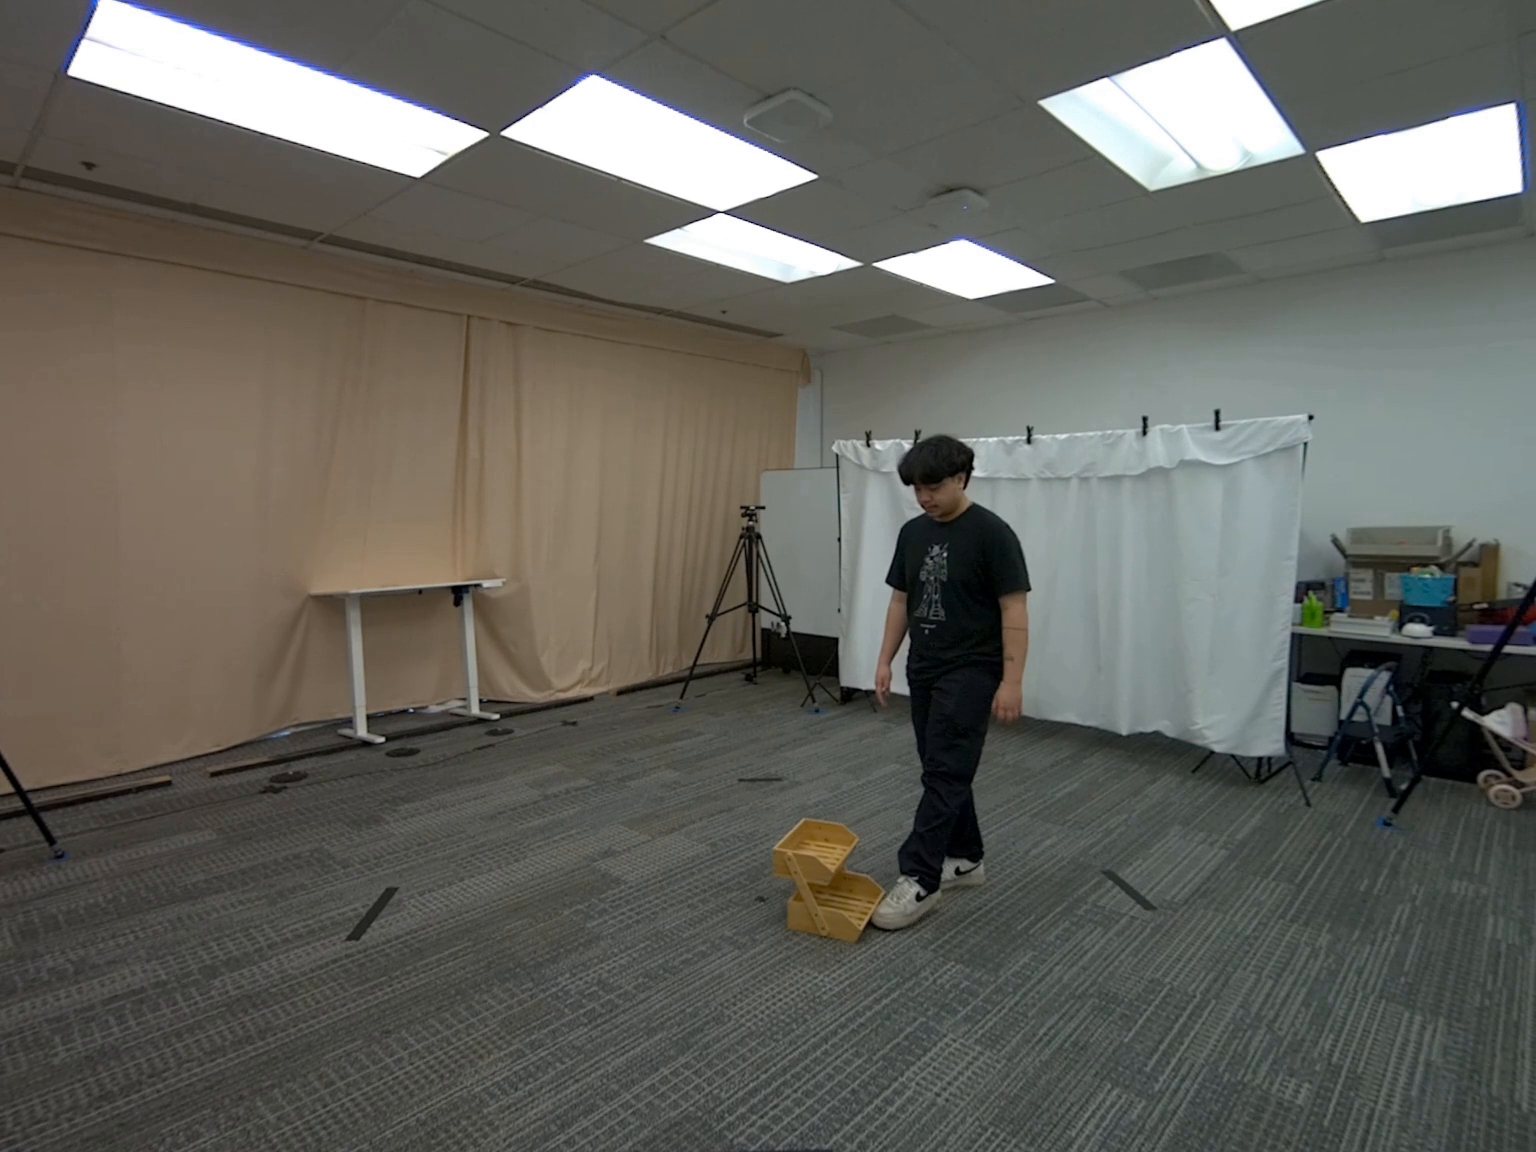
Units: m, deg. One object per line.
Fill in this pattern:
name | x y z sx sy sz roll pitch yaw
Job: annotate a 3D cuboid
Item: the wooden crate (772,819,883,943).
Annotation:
wooden crate | 0.235 1.020 2.856 0.309 0.273 0.317 1 4 23
